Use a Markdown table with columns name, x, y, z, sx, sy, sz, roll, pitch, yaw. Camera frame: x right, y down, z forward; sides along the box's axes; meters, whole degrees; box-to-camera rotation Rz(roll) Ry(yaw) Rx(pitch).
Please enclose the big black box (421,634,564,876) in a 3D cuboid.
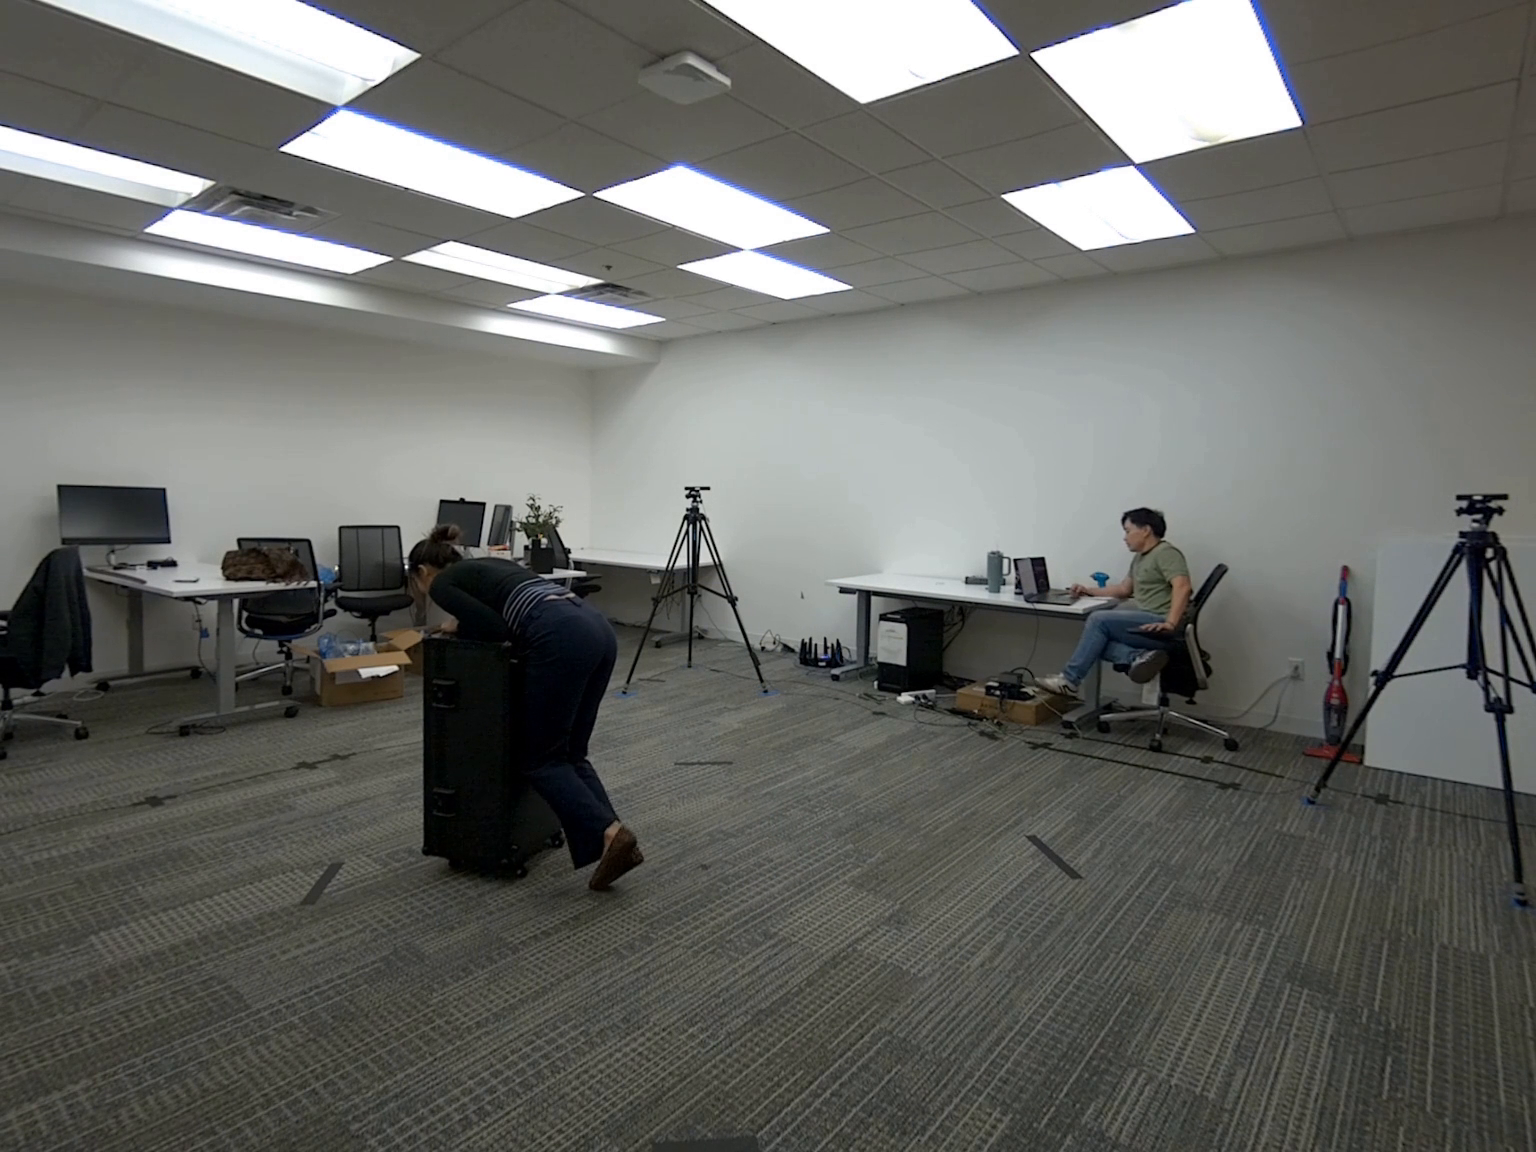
| name | x | y | z | sx | sy | sz | roll | pitch | yaw |
| --- | --- | --- | --- | --- | --- | --- | --- | --- | --- |
| big black box | -0.995 | 0.627 | 3.187 | 0.404 | 0.859 | 0.513 | 3 | 3 | 16 |
